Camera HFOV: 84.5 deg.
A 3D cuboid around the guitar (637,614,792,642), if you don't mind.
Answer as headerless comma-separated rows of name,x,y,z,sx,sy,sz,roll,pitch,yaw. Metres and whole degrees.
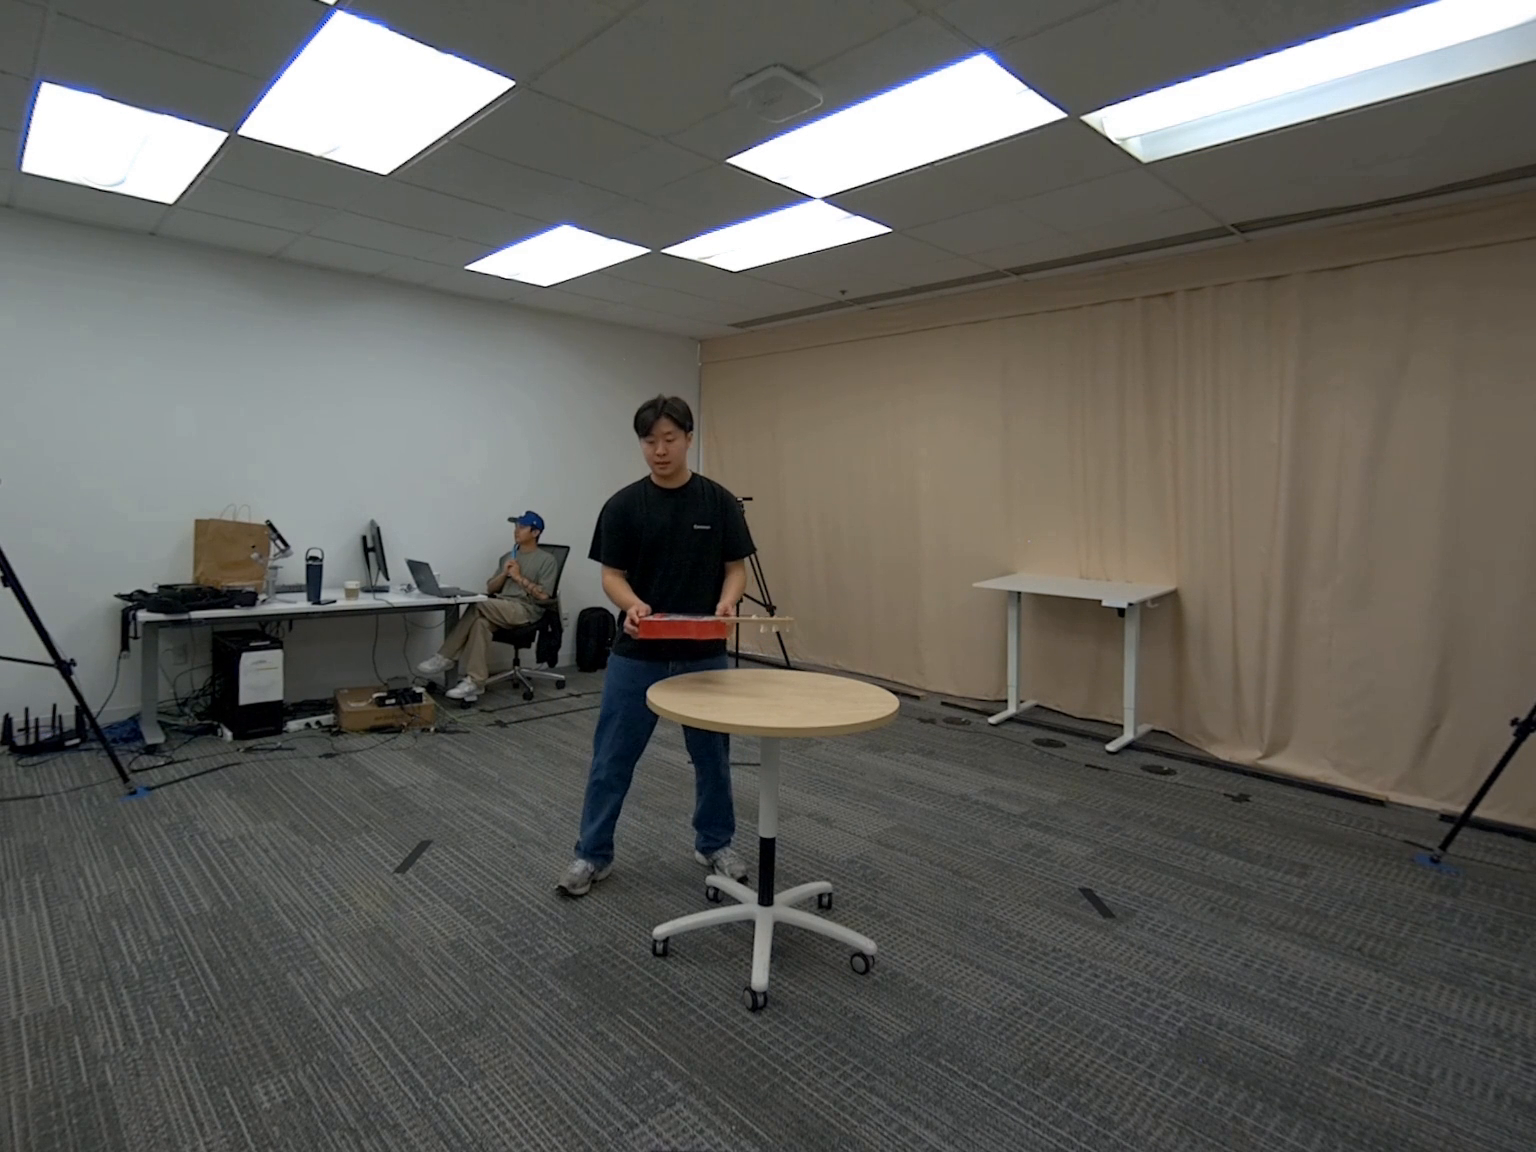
guitar,-0.167,0.159,2.632,0.507,0.071,0.189,2,1,25
